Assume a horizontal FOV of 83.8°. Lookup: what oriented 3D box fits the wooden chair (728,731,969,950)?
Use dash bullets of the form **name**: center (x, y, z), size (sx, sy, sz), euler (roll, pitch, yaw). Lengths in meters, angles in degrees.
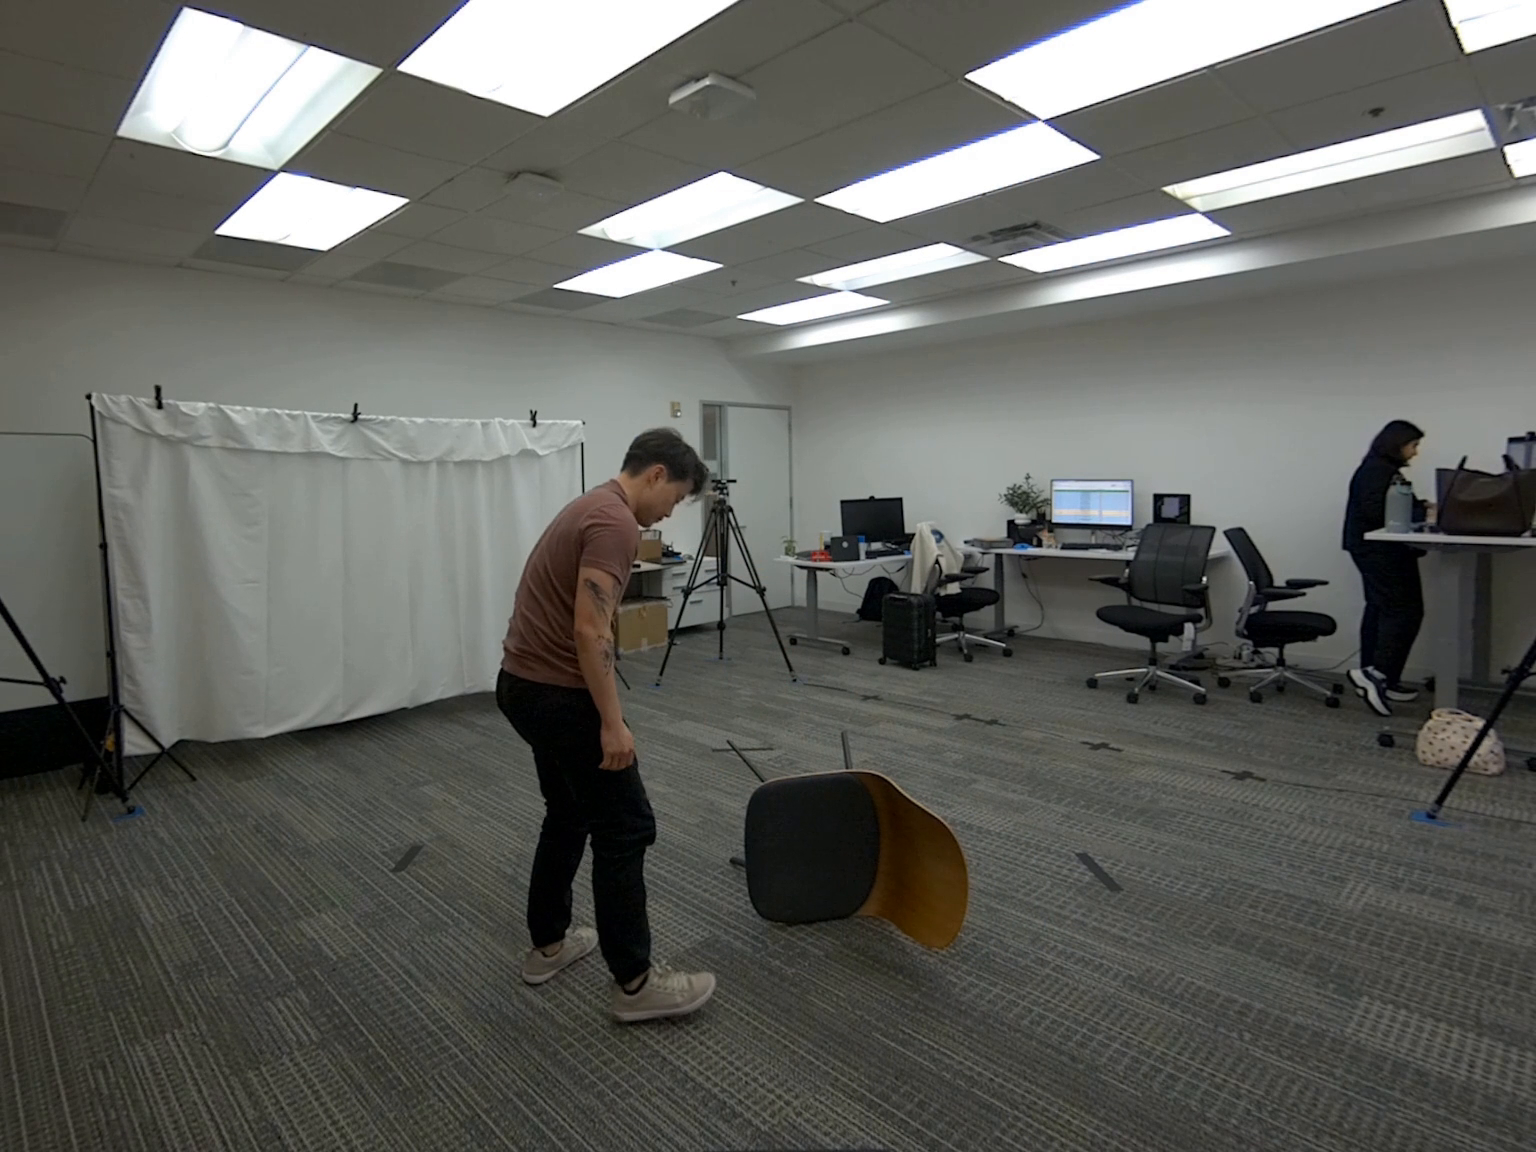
- **wooden chair**: center (0.173, 0.855, 2.746), size (0.515, 0.476, 0.895), euler (-3, 6, -18)
